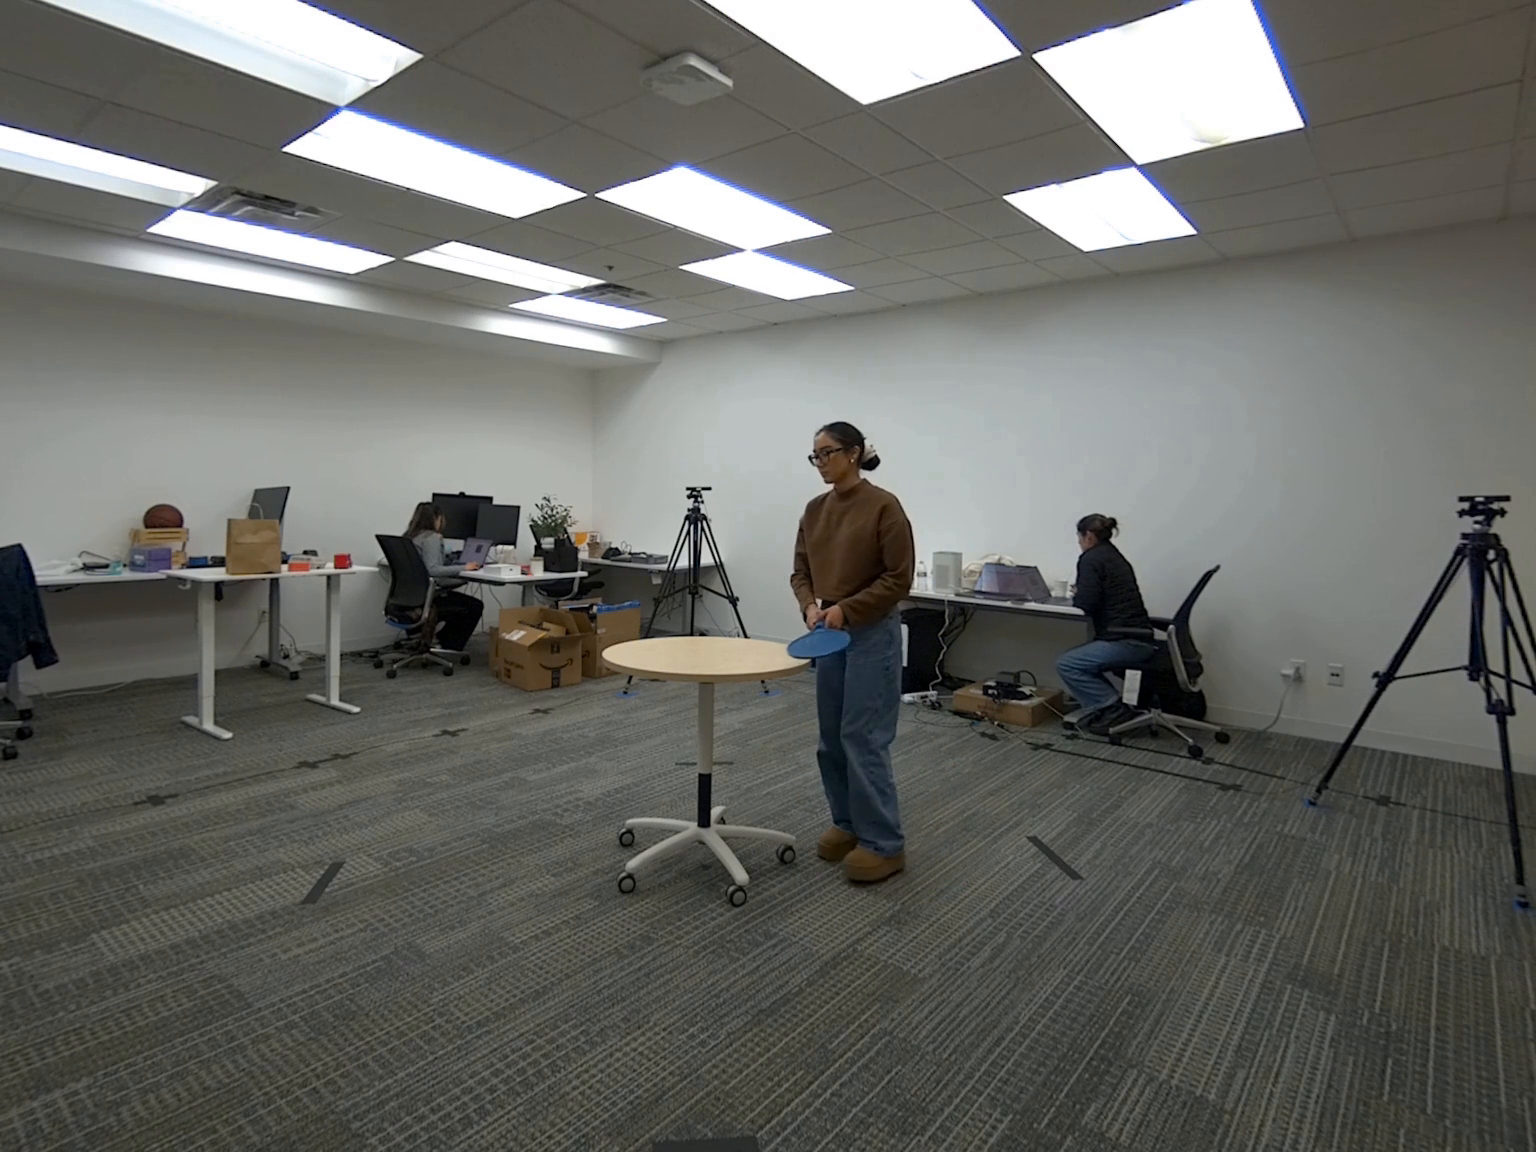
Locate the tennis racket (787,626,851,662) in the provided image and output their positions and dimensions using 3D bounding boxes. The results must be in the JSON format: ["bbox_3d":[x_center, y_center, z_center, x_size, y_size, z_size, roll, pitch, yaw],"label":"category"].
[{"bbox_3d":[0.151,0.213,2.907,0.212,0.031,0.441,-13,14,-8],"label":"tennis racket"}]
